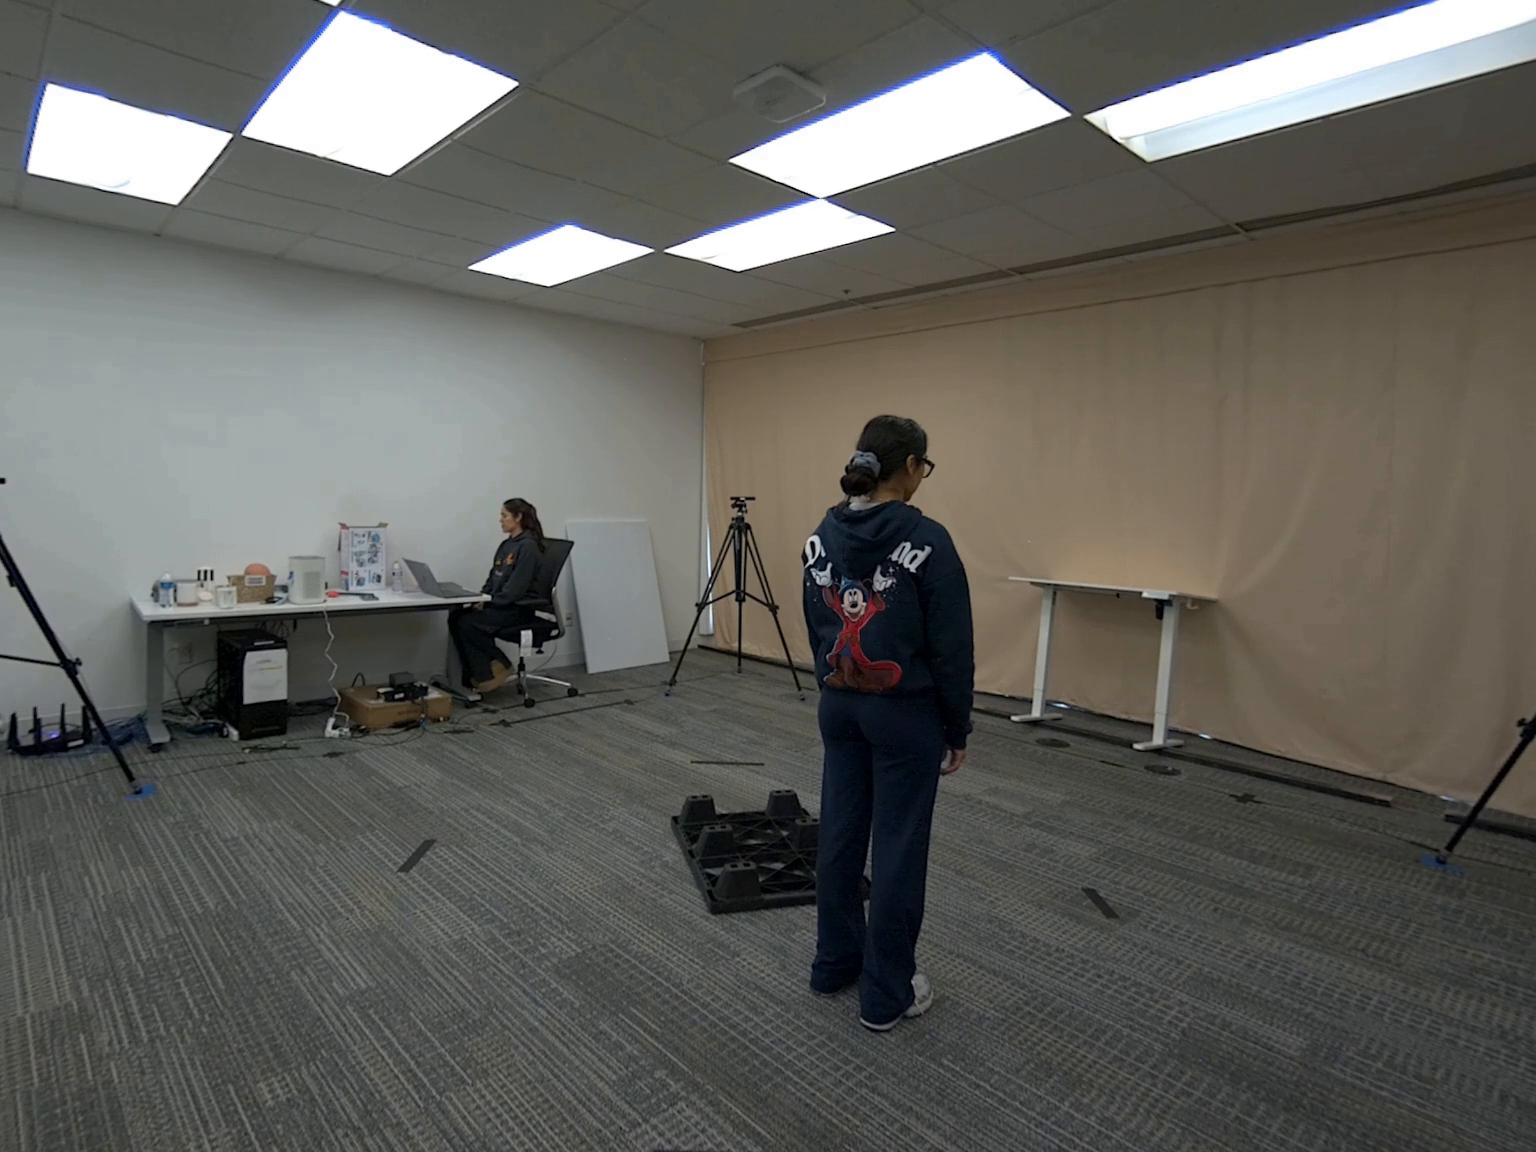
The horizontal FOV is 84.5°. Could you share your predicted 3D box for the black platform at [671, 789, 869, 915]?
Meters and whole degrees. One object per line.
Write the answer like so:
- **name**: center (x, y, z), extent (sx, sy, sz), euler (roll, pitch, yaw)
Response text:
- **black platform**: center (-0.025, 1.025, 3.263), extent (0.597, 0.143, 0.818), euler (0, 5, -17)
